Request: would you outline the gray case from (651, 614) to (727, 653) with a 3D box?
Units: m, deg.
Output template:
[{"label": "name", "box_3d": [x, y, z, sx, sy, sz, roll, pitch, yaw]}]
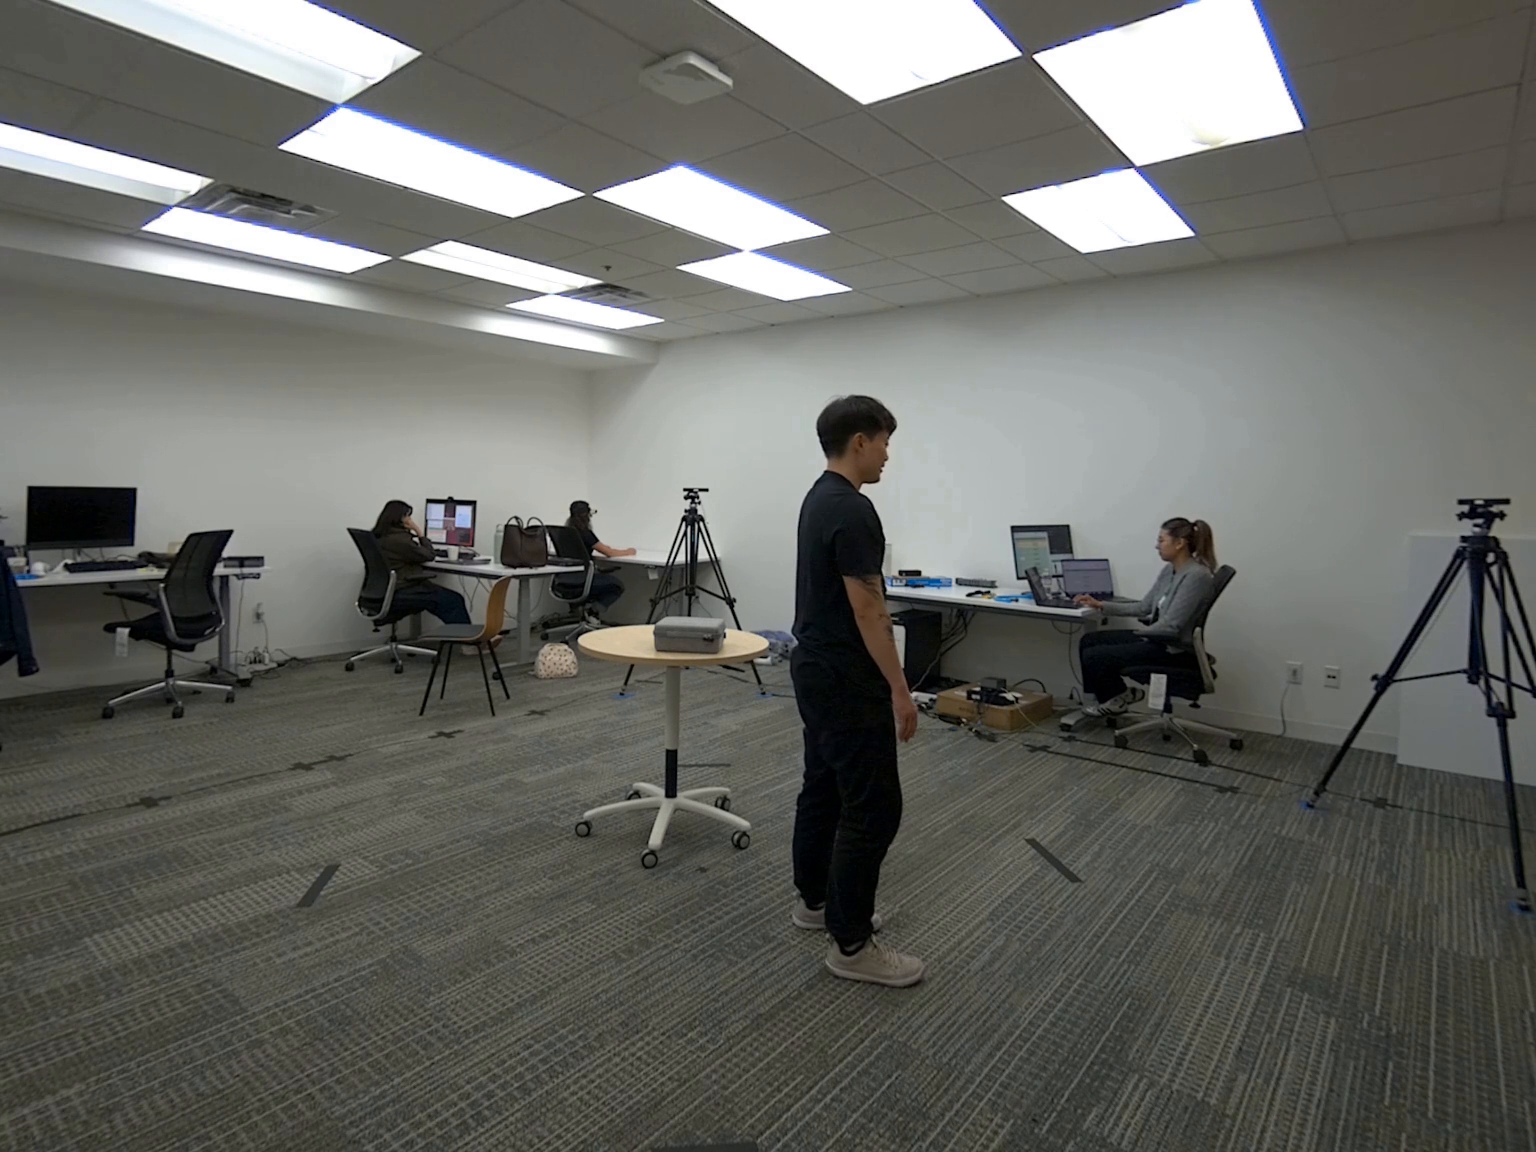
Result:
[{"label": "gray case", "box_3d": [-0.306, 0.218, 3.275, 0.258, 0.104, 0.260, 1, 4, 5]}]
